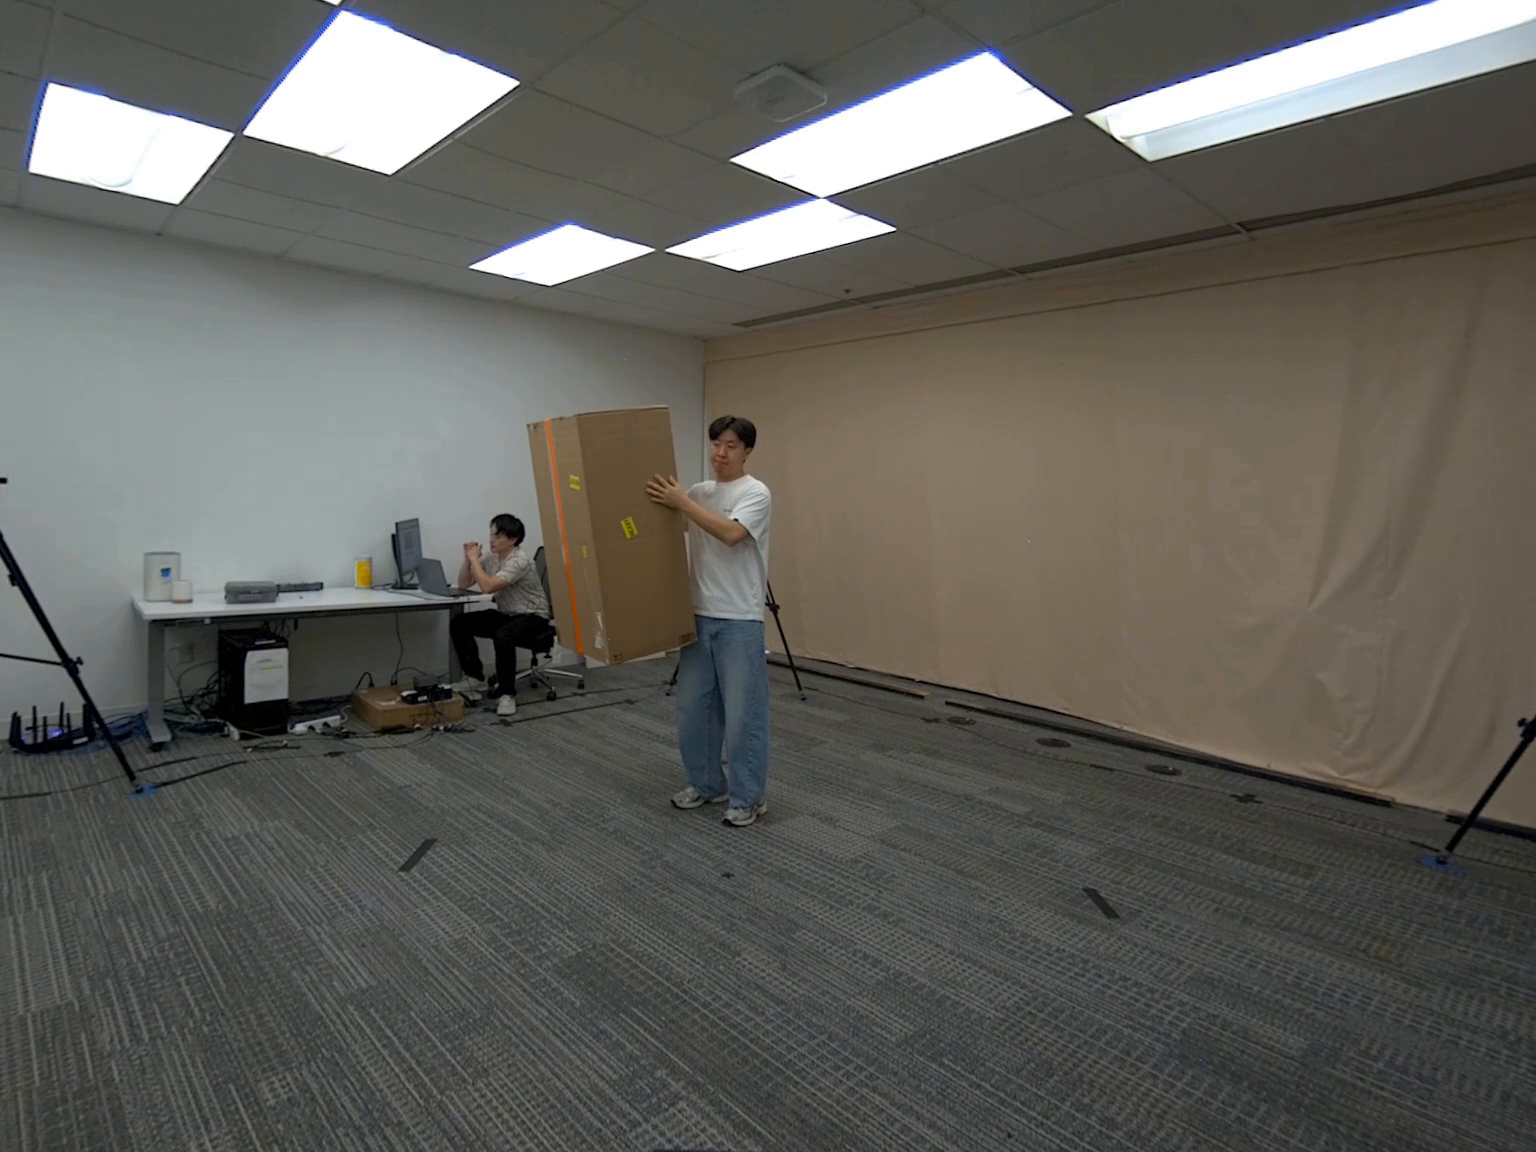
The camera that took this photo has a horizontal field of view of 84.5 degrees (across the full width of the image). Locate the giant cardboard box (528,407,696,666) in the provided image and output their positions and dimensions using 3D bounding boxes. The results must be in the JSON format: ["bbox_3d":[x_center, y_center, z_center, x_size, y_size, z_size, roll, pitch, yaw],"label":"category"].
[{"bbox_3d":[-0.698,-0.193,3.685,0.419,1.019,0.591,-11,10,-34],"label":"giant cardboard box"}]
